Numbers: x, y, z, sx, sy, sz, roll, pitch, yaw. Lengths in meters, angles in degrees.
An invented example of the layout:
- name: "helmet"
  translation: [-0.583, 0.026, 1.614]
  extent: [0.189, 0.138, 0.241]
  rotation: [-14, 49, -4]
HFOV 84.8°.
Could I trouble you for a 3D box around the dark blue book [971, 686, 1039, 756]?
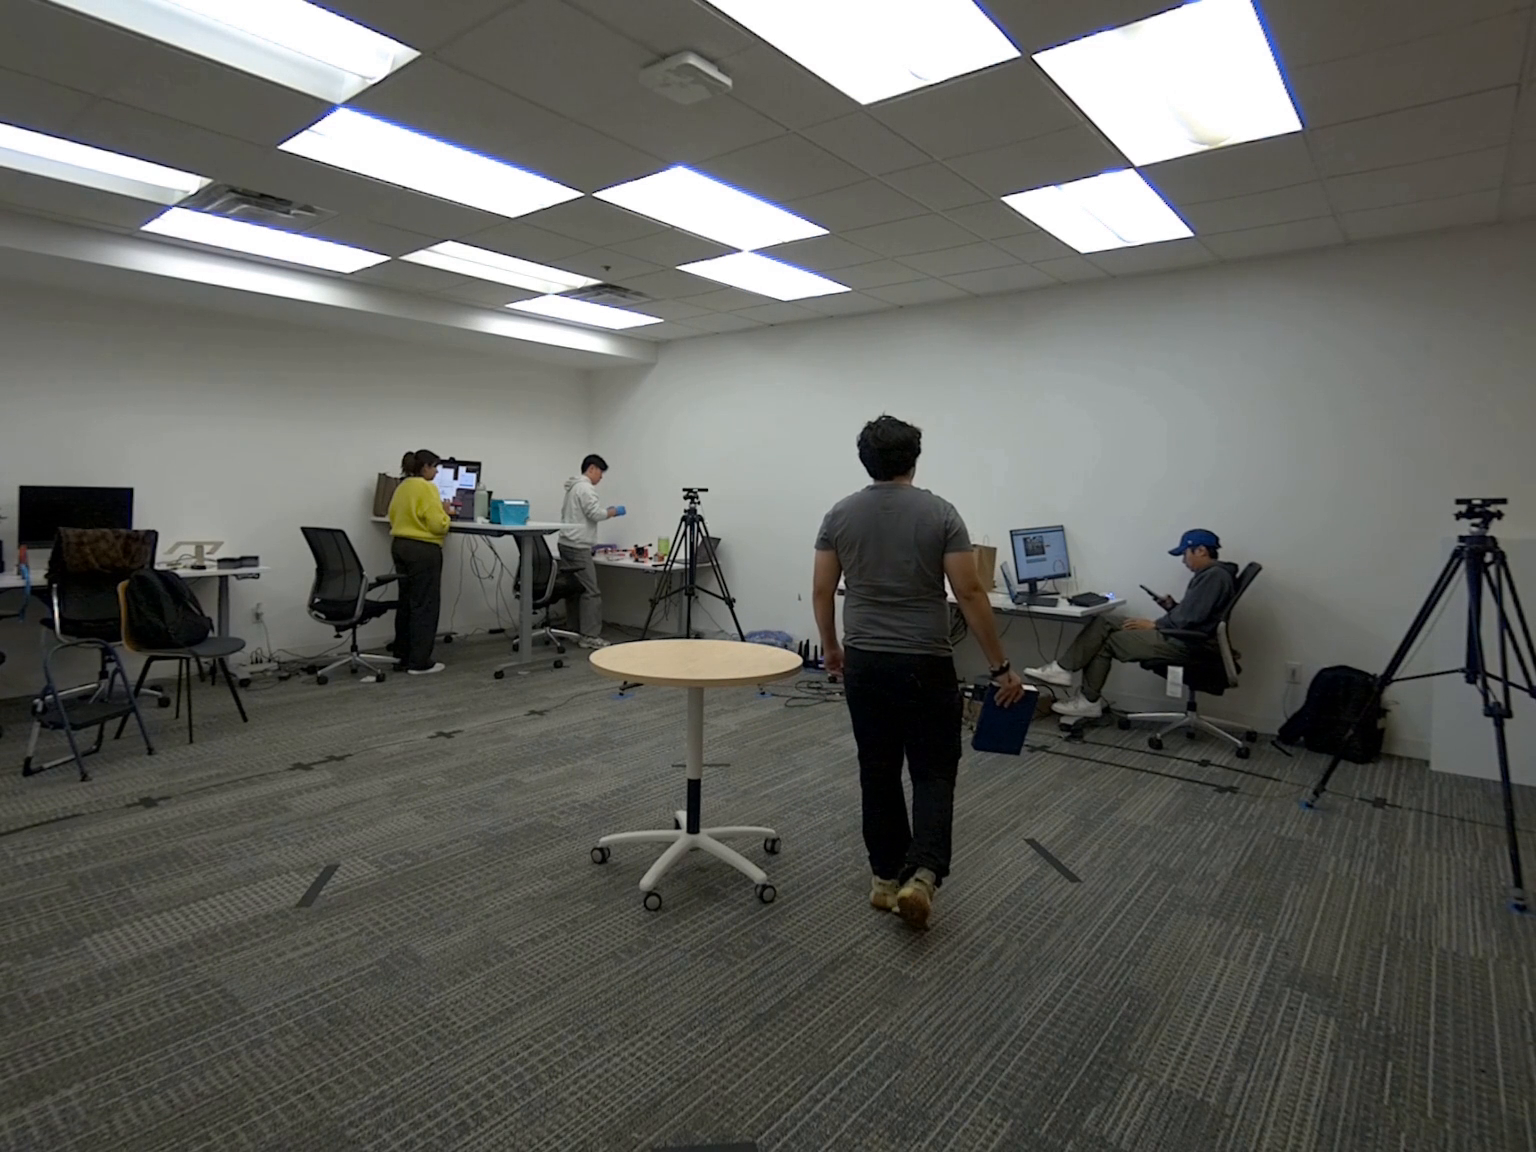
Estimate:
- name: "dark blue book"
  translation: [0.785, 0.474, 2.841]
  extent: [0.162, 0.243, 0.046]
  rotation: [9, 11, -6]
